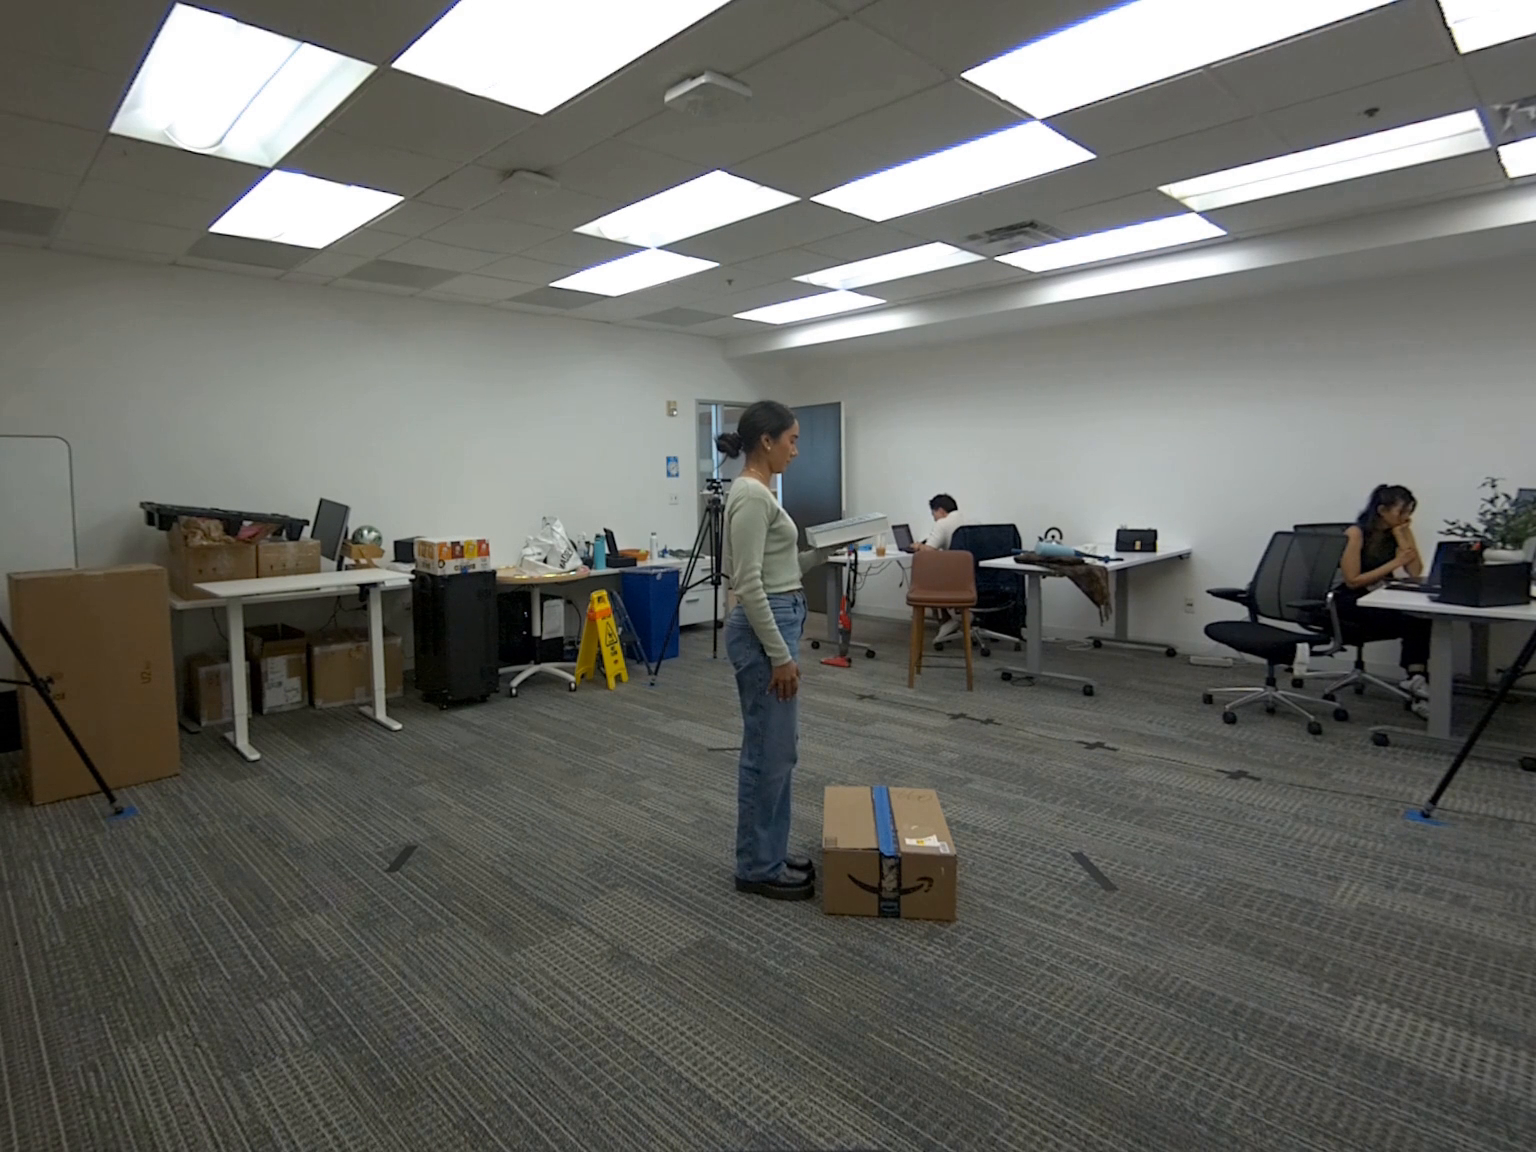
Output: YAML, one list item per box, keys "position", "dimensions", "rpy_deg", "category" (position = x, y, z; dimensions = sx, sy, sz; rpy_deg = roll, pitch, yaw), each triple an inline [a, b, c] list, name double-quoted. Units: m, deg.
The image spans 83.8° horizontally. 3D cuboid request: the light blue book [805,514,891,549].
- position: [0.269, -0.153, 2.940]
  dimensions: [0.261, 0.059, 0.192]
  rpy_deg: [-12, 7, 2]
  category: "light blue book"
